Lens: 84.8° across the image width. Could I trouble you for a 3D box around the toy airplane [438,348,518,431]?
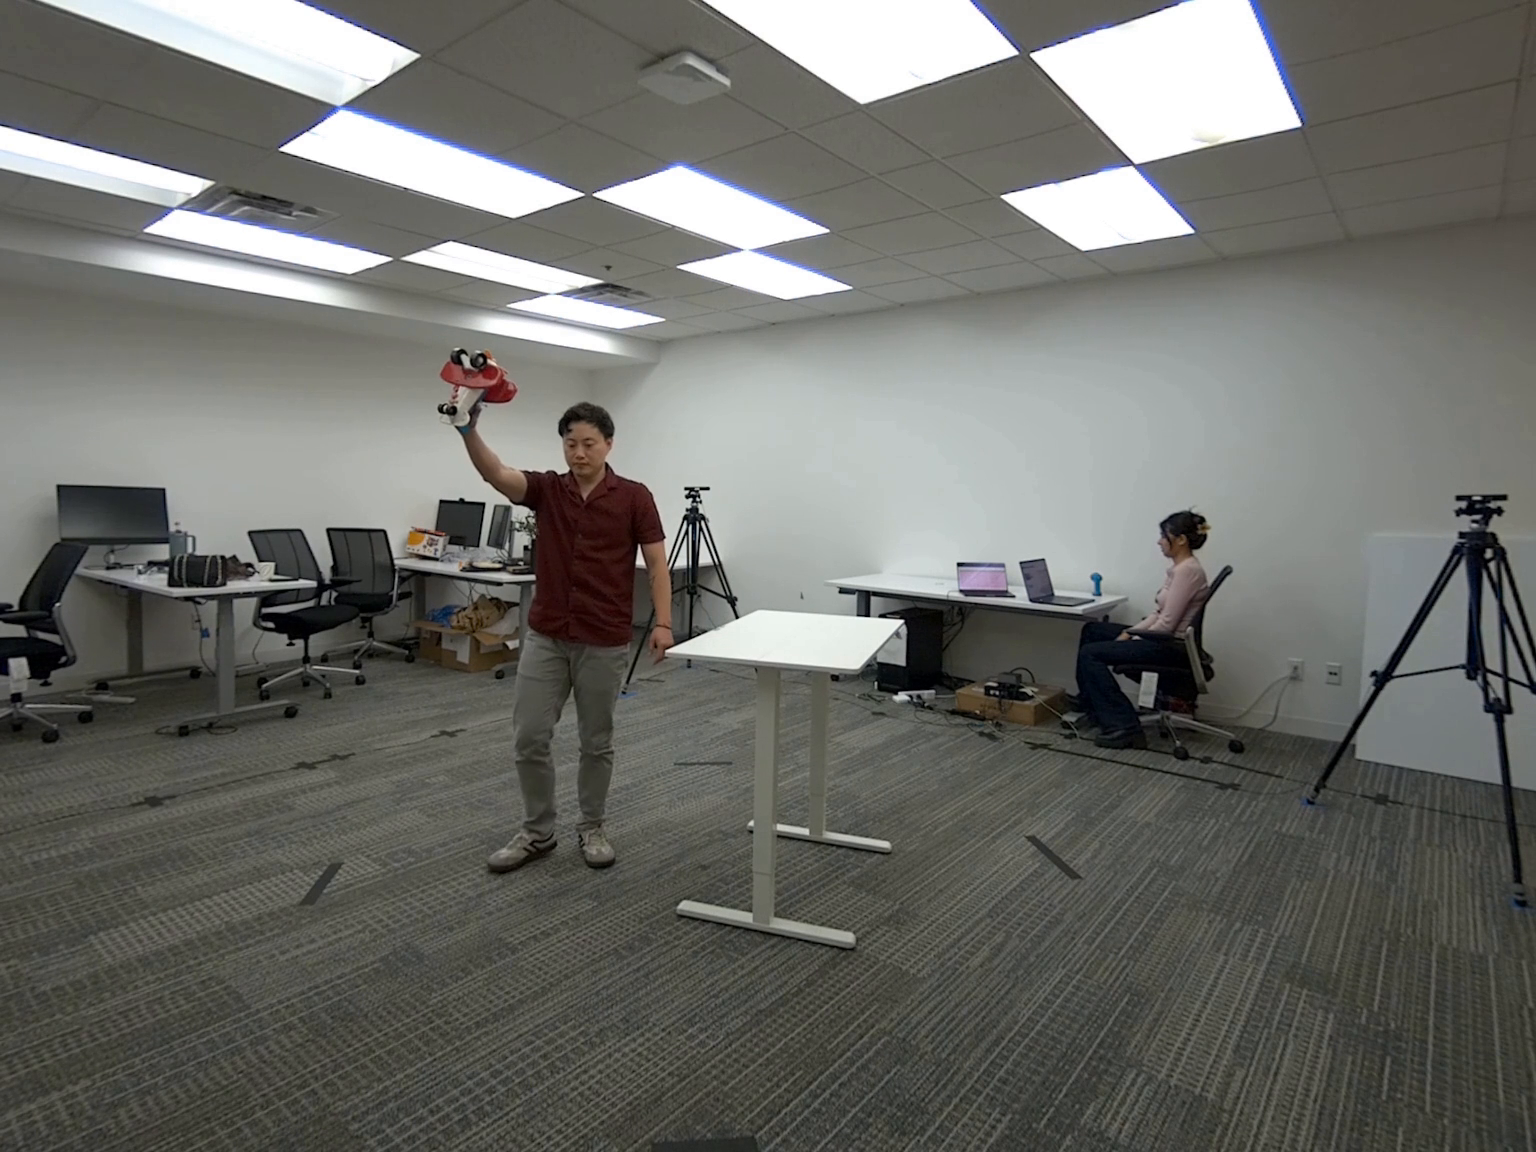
[{"bbox_3d":[-0.976,-0.601,2.704,0.260,0.259,0.151,45,7,26],"label":"toy airplane"}]
